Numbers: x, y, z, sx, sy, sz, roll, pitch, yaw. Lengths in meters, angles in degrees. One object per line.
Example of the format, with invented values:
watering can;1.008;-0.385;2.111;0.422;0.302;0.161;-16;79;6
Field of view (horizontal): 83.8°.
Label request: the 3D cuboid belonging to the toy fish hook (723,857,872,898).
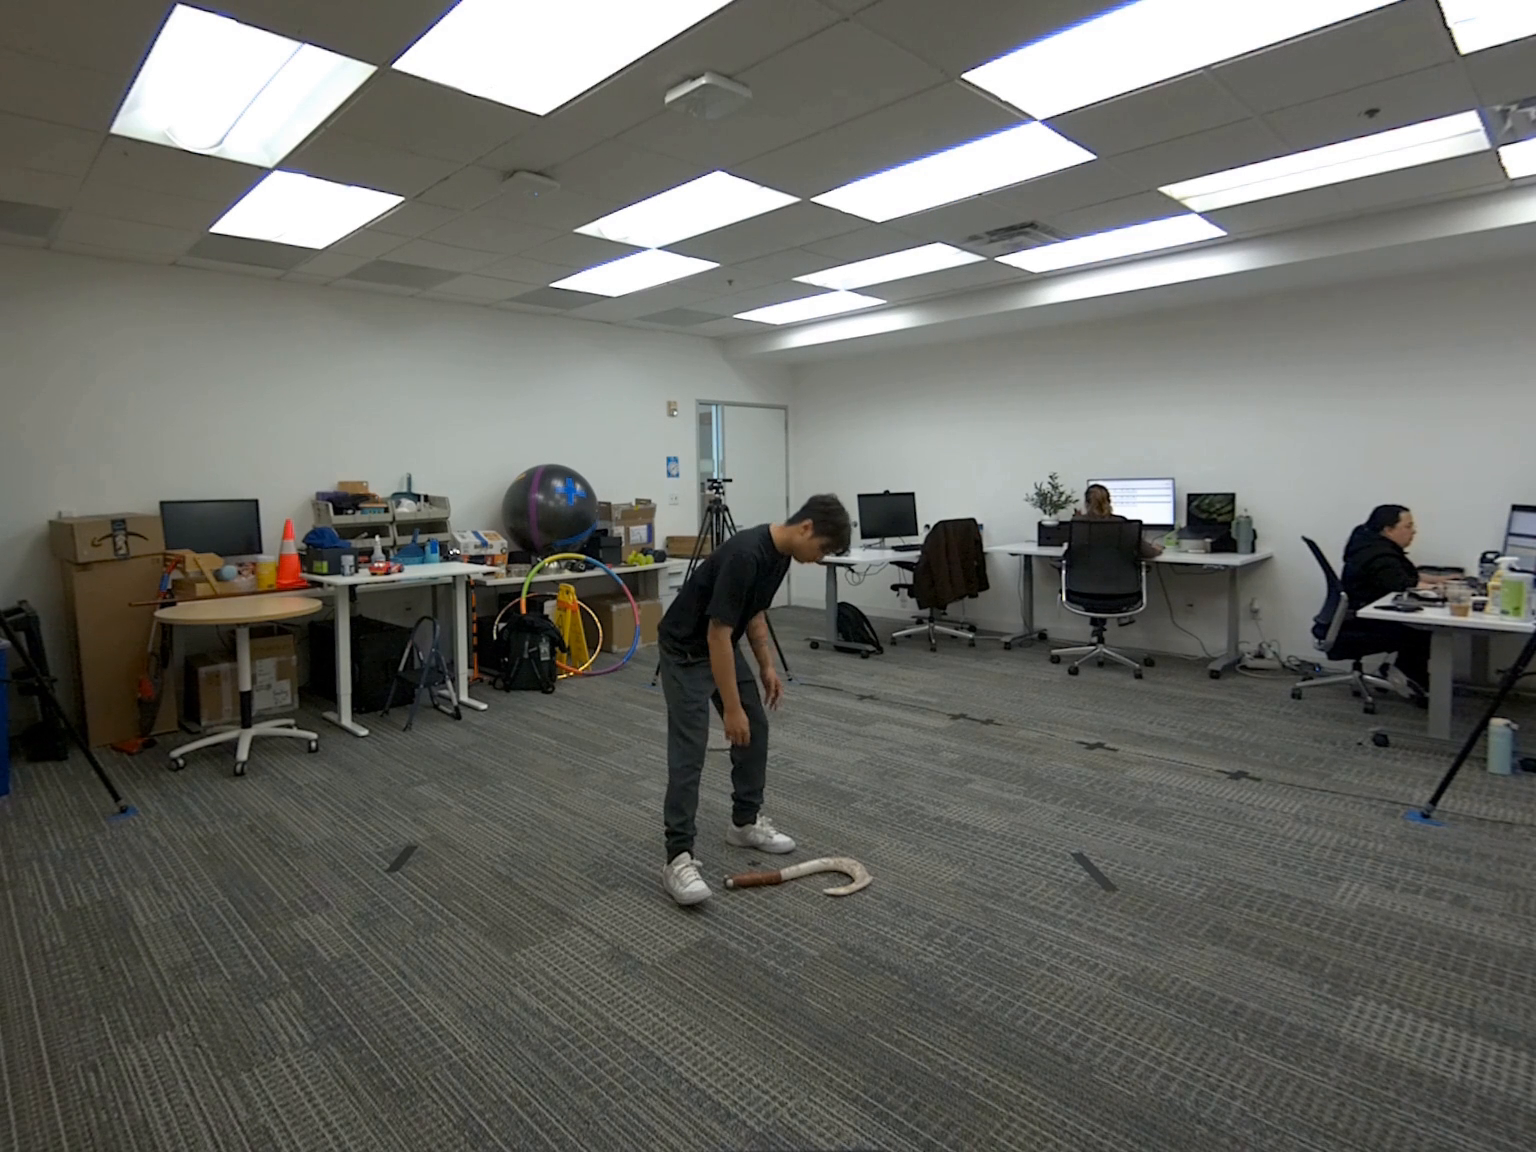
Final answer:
toy fish hook;0.107;1.036;2.923;0.500;0.048;0.228;-3;5;-14
